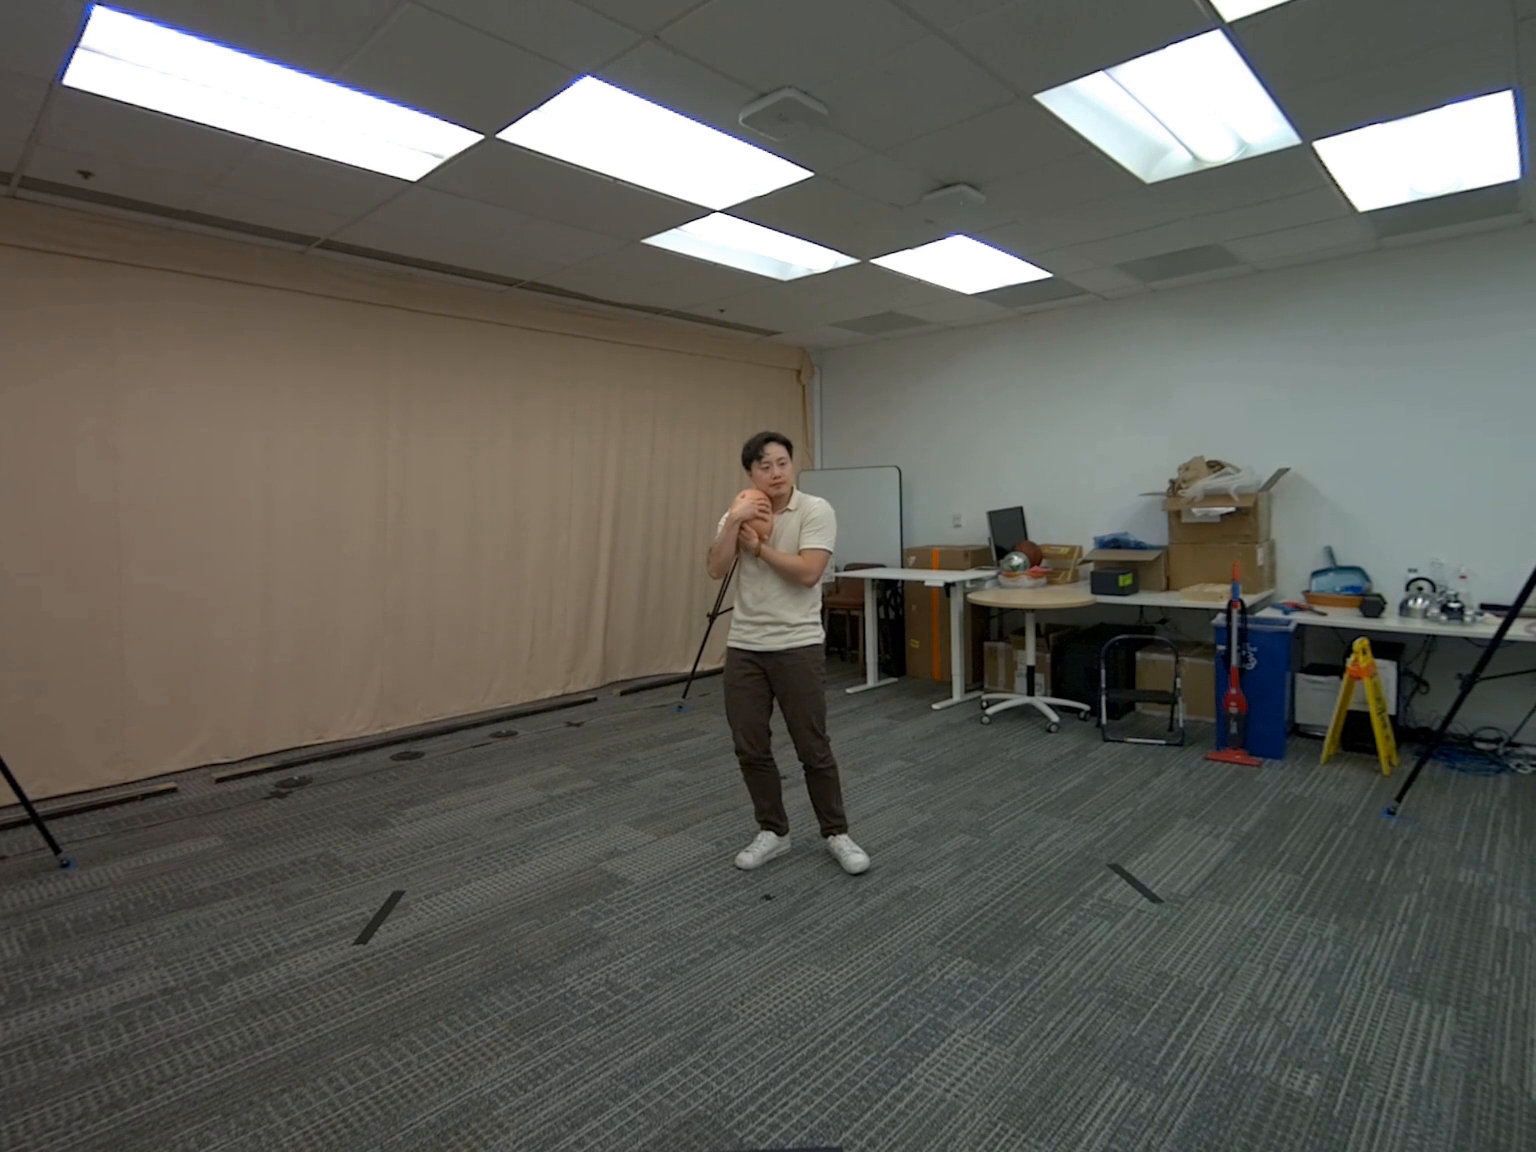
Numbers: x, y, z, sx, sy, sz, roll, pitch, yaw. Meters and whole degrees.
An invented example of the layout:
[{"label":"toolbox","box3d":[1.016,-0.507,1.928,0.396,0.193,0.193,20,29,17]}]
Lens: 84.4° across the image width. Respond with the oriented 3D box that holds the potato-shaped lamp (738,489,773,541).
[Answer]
[{"label":"potato-shaped lamp","box3d":[-0.058,-0.237,3.227,0.164,0.201,0.169,7,-38,-2]}]
